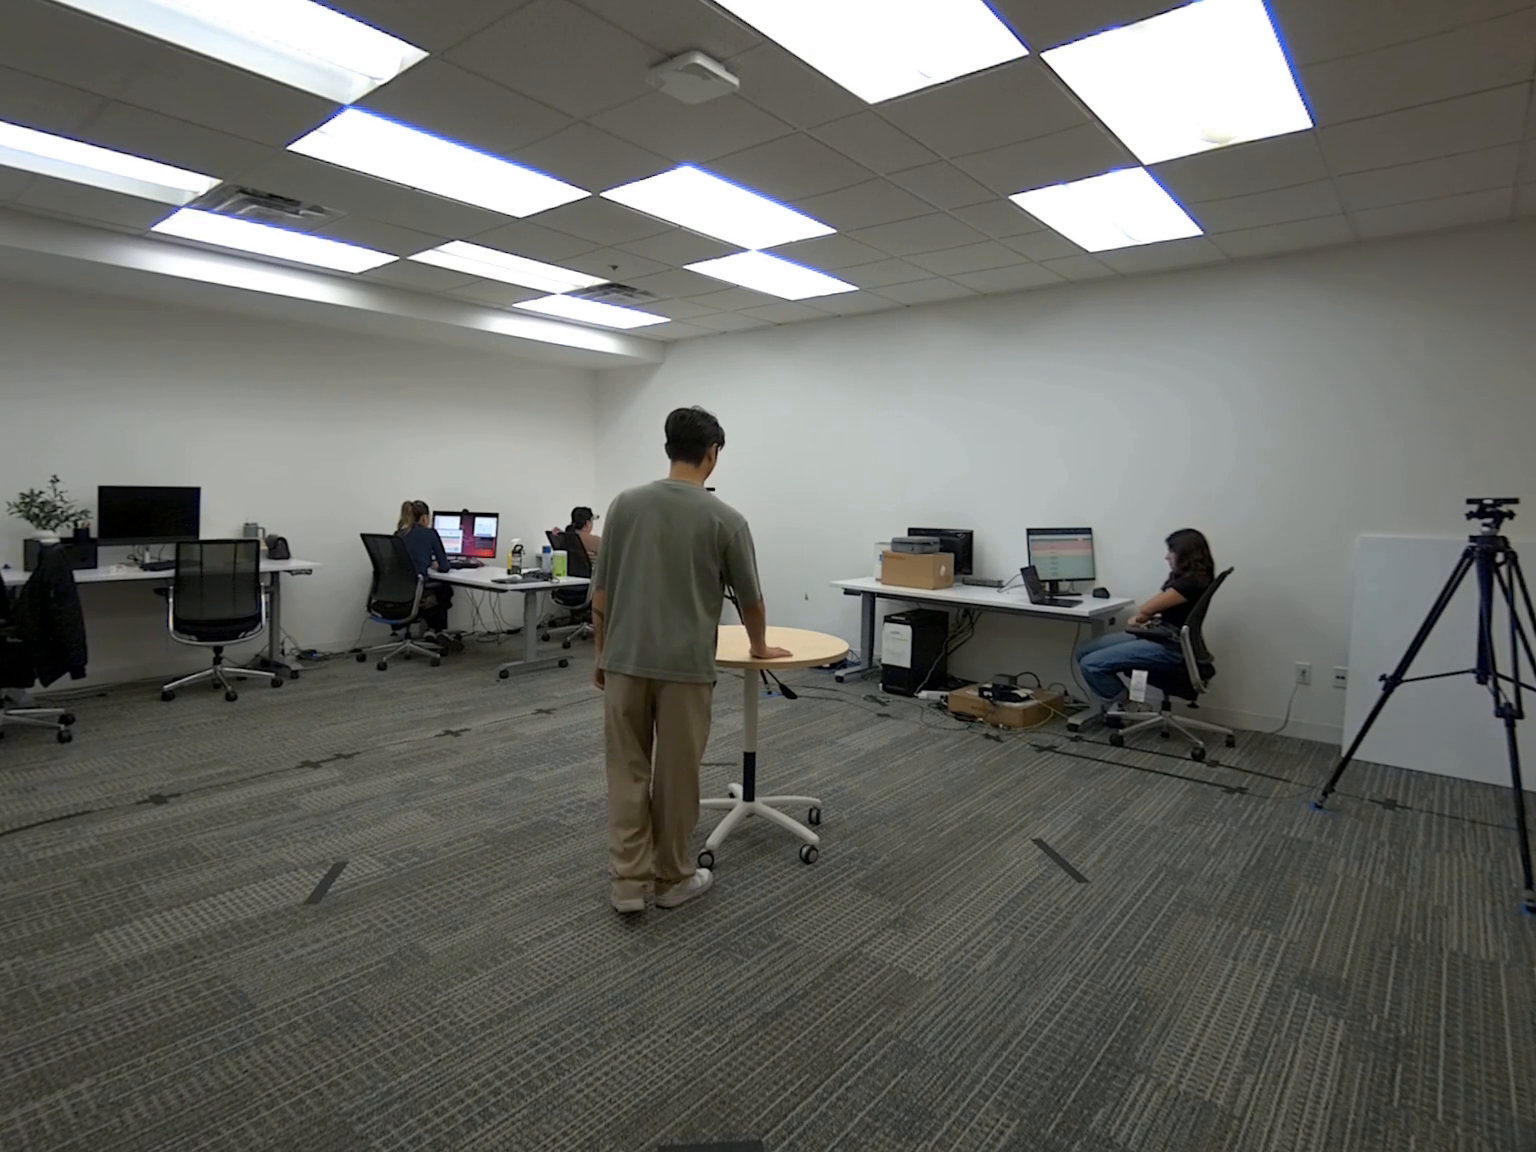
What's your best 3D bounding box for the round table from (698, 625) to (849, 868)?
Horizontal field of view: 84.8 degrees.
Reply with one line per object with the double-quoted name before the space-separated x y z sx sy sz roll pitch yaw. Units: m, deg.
"round table" -0.079 0.651 3.415 0.763 0.791 0.768 1 4 -2
